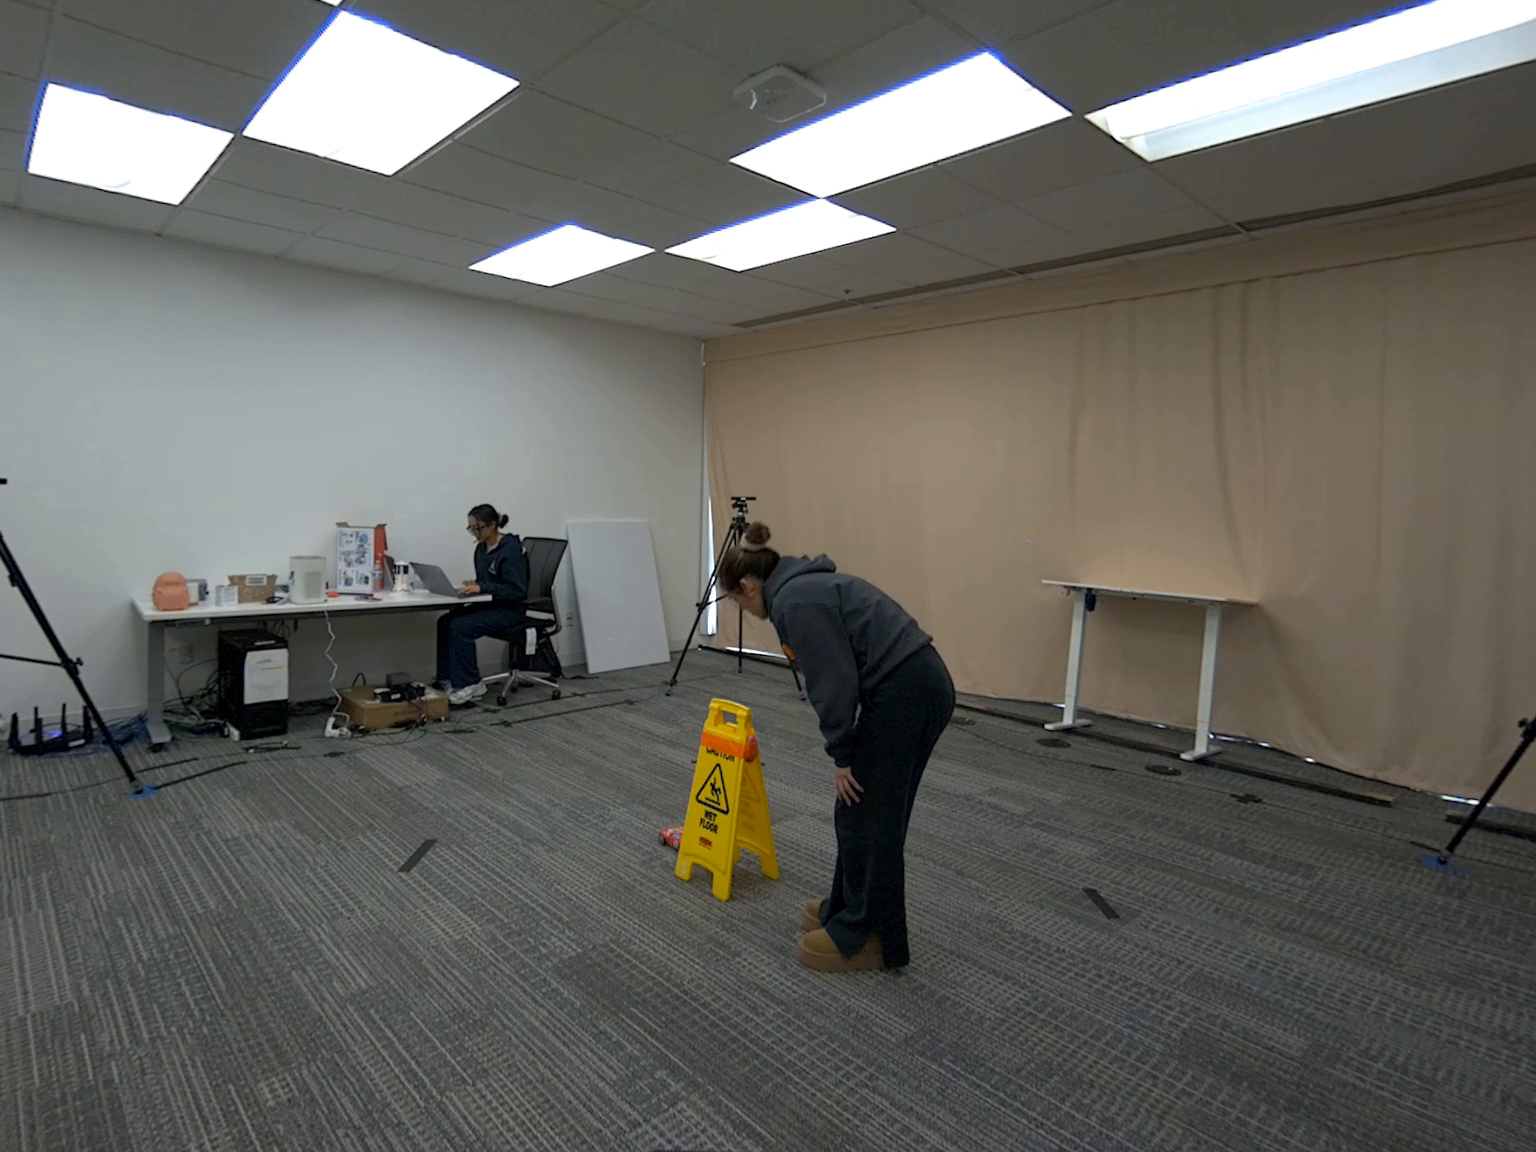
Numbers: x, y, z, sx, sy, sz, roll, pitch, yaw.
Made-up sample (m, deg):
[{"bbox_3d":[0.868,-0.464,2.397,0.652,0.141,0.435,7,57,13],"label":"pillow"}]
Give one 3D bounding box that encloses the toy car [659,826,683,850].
[{"bbox_3d":[-0.336,1.055,3.338,0.127,0.083,0.259,-1,-5,-40],"label":"toy car"}]
